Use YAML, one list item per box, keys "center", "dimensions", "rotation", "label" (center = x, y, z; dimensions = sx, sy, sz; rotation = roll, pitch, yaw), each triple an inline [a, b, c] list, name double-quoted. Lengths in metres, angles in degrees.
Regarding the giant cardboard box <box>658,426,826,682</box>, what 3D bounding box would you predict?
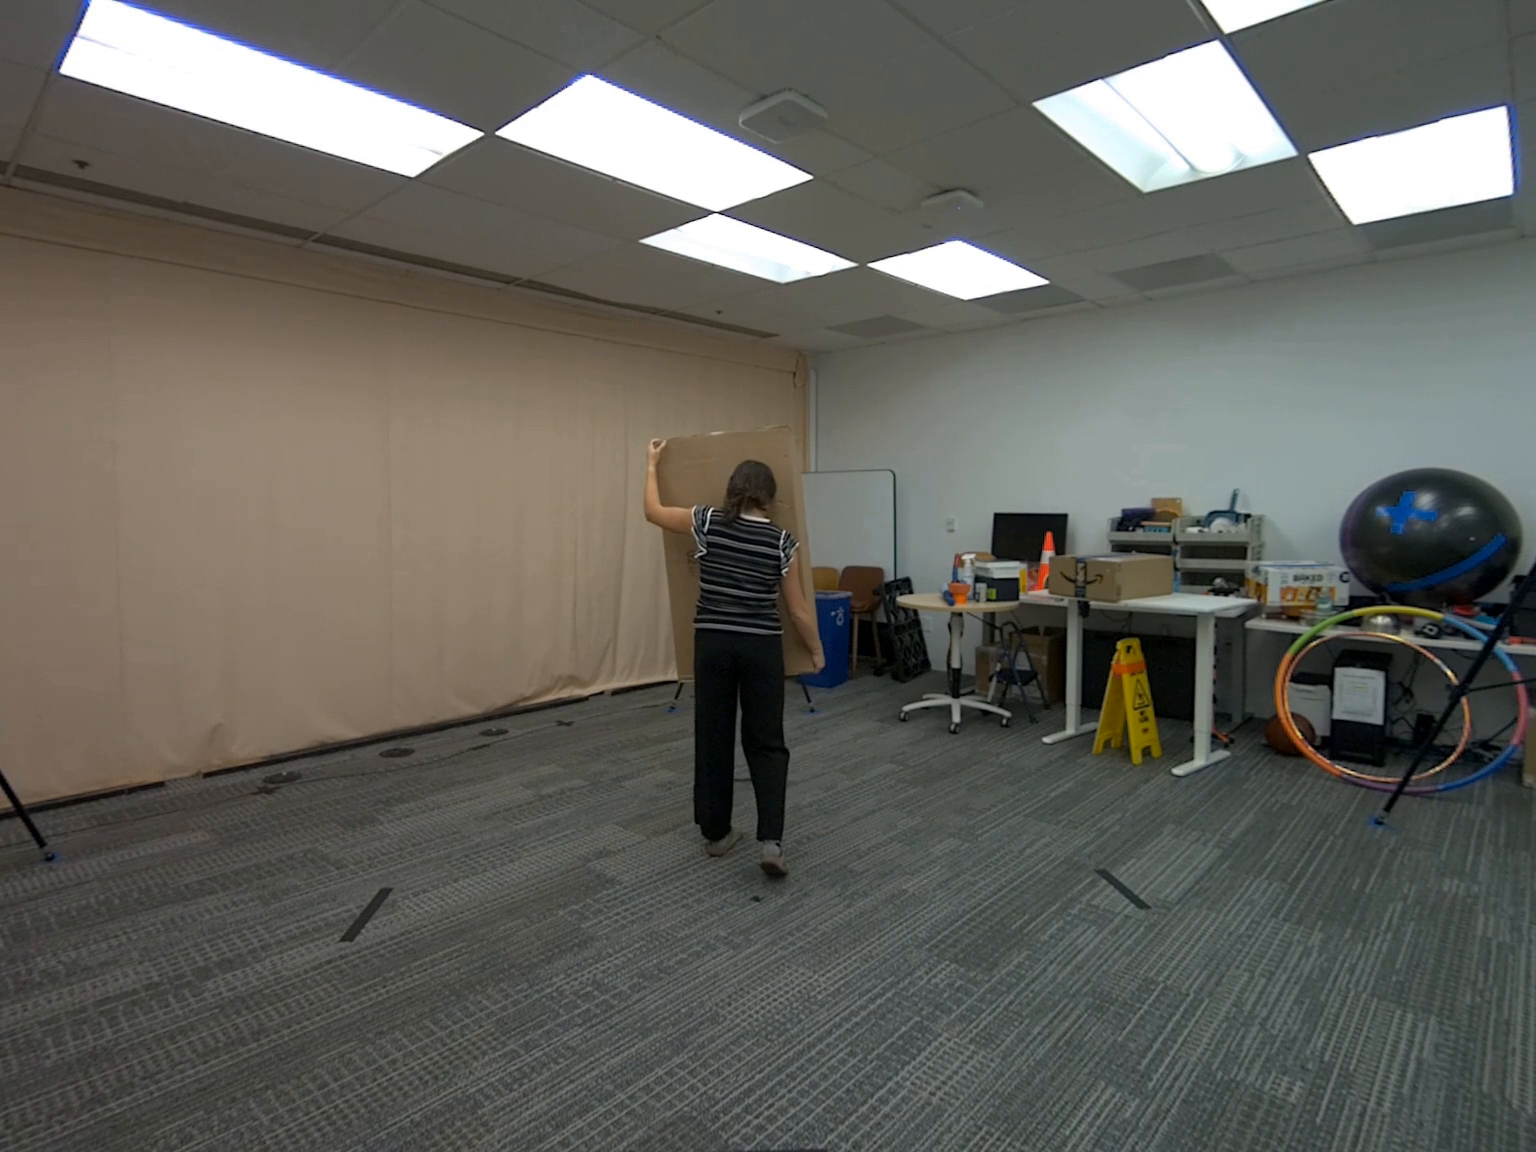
- center: [-0.113, -0.095, 3.676]
  dimensions: [0.584, 1.026, 0.421]
  rotation: [-6, 0, 10]
  label: "giant cardboard box"
